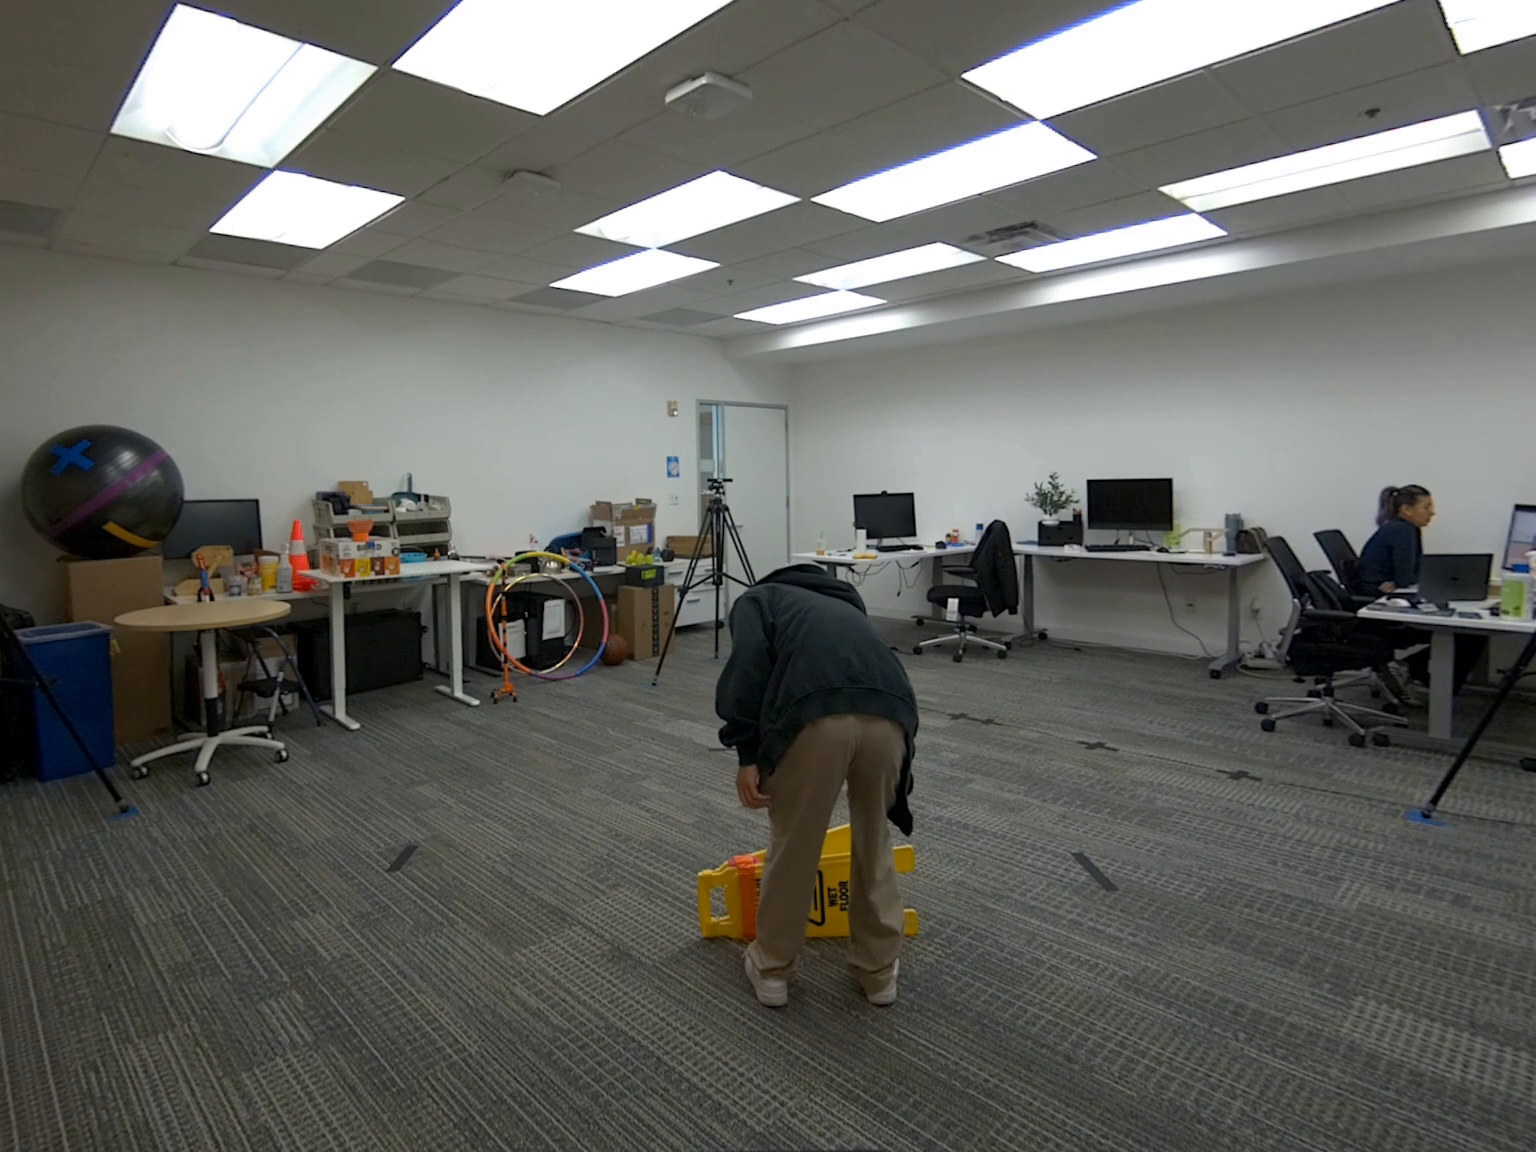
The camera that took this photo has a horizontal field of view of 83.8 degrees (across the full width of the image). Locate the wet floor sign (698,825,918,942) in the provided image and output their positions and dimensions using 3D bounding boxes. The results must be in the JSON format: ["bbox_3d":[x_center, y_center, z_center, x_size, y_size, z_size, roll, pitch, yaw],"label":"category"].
[{"bbox_3d":[0.111,0.970,2.645,0.640,0.281,0.294,-5,5,-10],"label":"wet floor sign"}]
